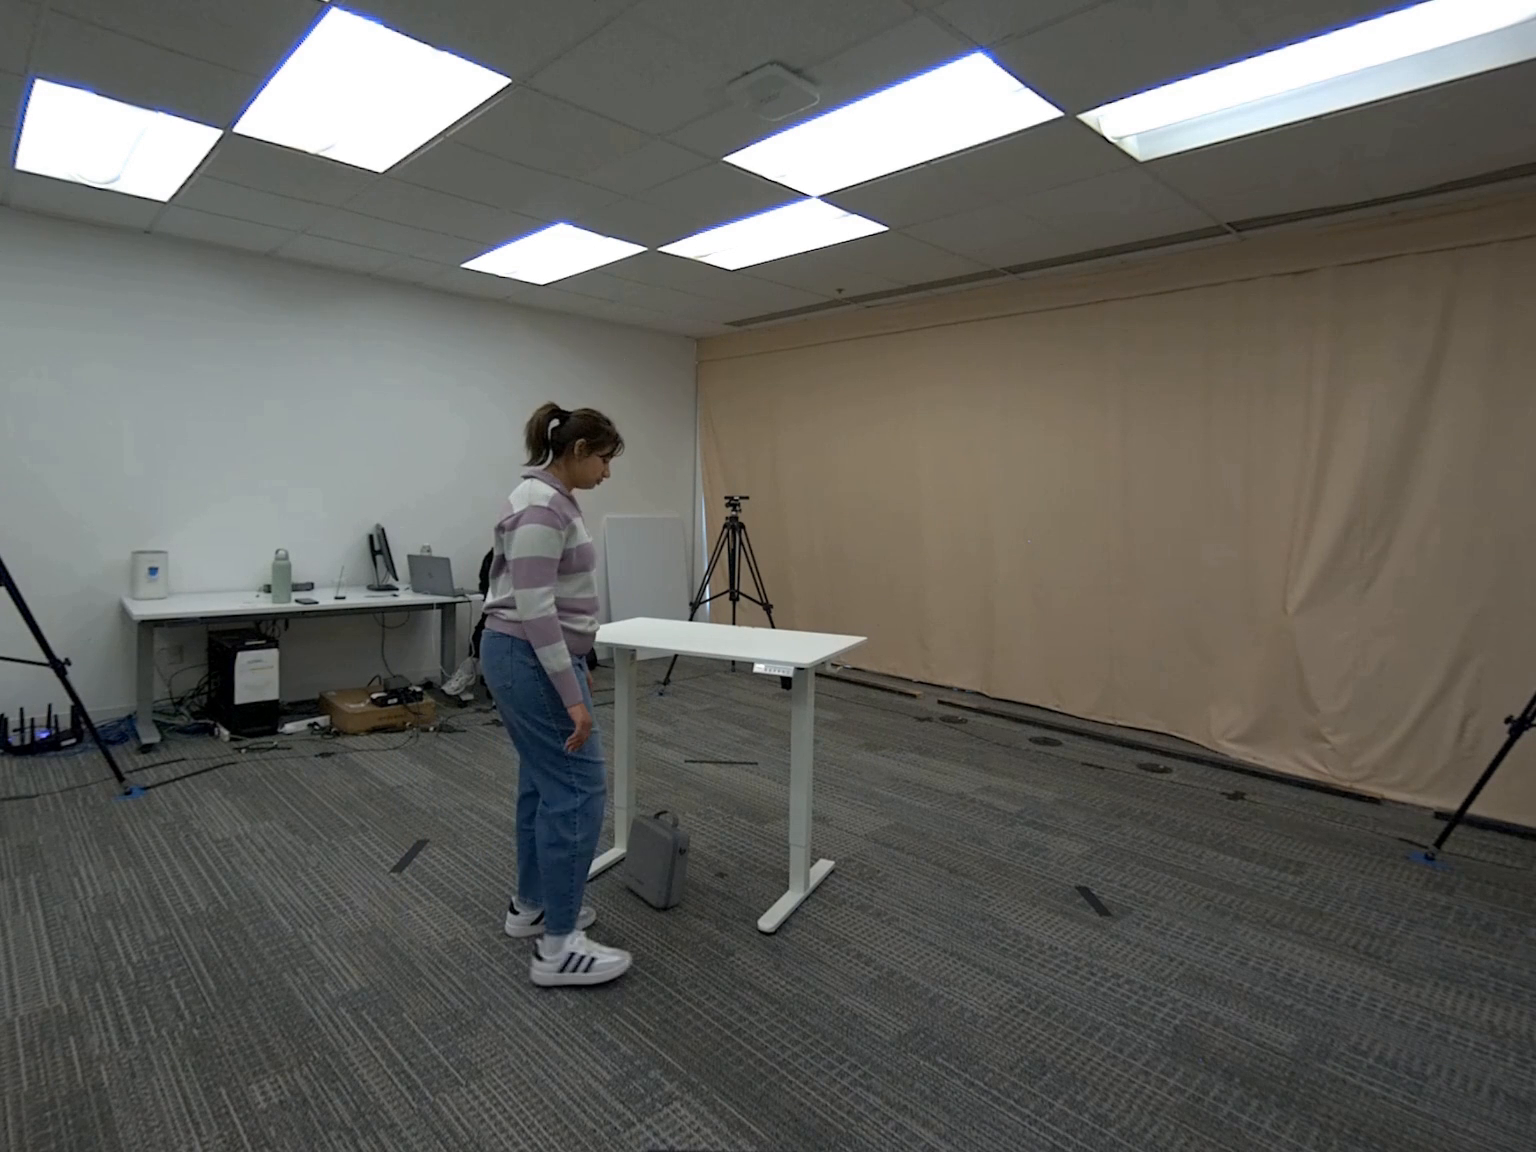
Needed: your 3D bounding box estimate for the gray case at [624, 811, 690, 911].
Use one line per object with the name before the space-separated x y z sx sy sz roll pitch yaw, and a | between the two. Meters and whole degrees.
gray case | -0.400 0.987 2.931 0.101 0.261 0.263 9 -1 -38
